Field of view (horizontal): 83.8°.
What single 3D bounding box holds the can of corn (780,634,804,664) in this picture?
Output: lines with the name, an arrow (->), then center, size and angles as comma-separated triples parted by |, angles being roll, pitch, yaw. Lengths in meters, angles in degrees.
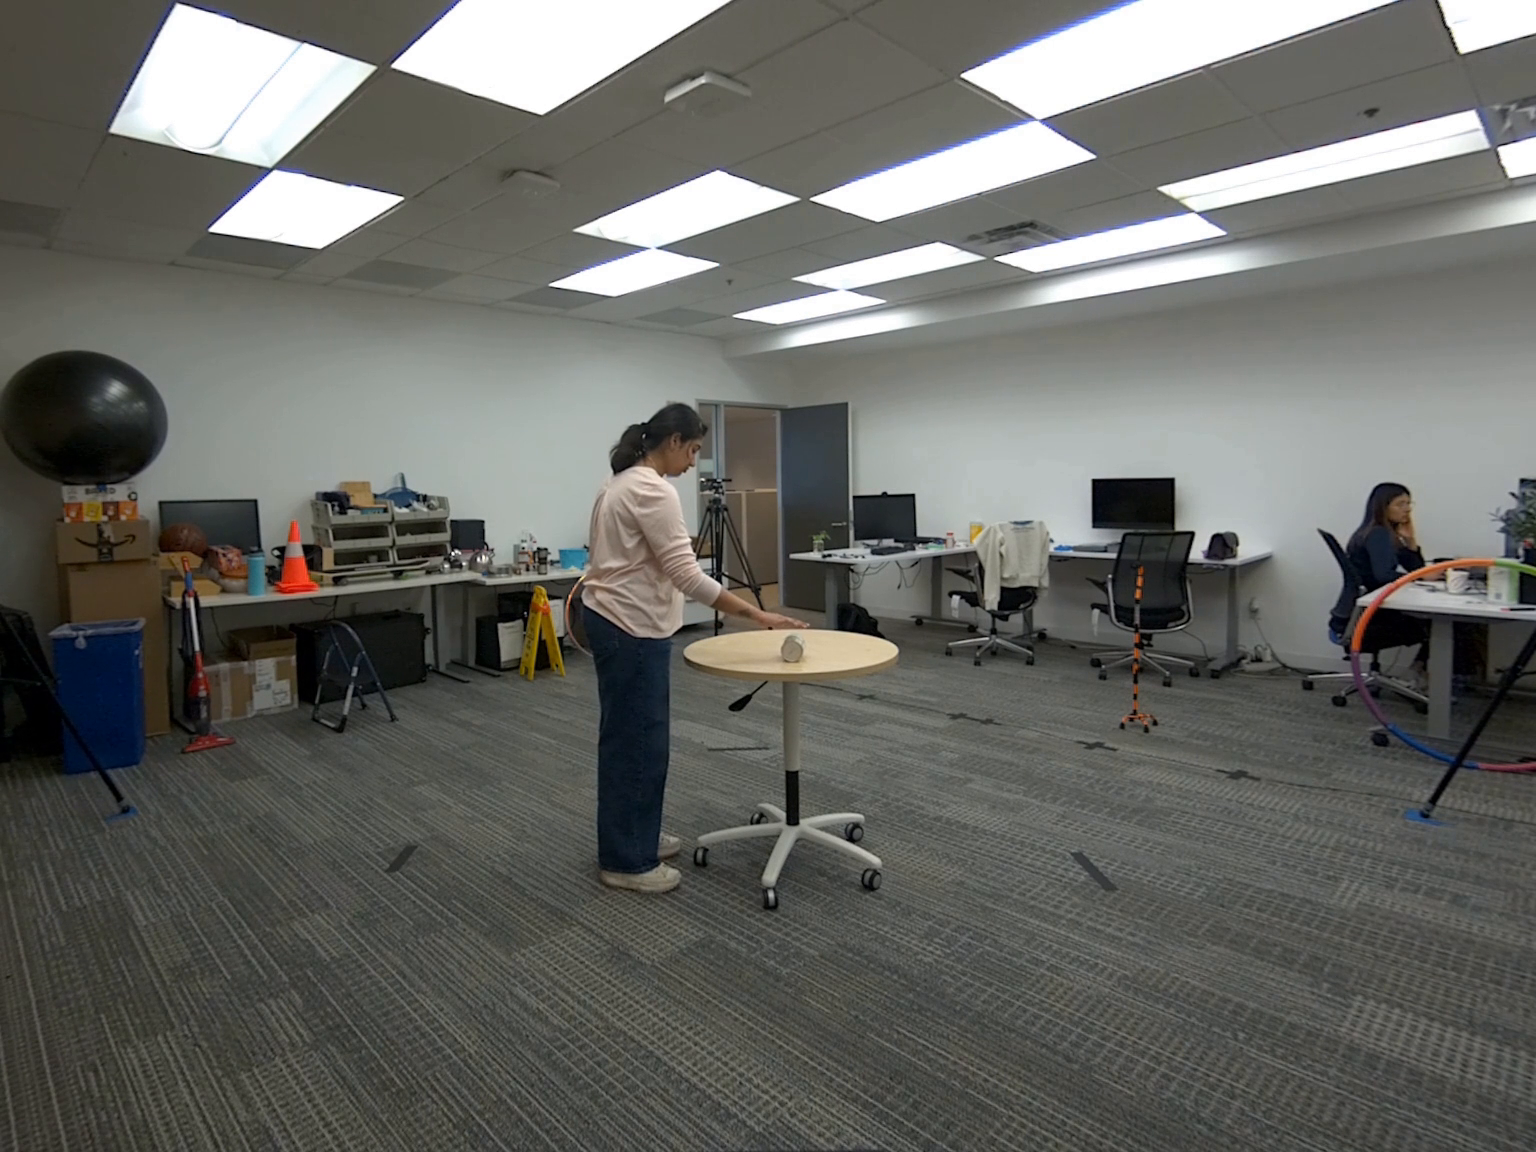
can of corn -> 0.080, 0.240, 2.899 | 0.075, 0.074, 0.110 | 0, 5, 7
